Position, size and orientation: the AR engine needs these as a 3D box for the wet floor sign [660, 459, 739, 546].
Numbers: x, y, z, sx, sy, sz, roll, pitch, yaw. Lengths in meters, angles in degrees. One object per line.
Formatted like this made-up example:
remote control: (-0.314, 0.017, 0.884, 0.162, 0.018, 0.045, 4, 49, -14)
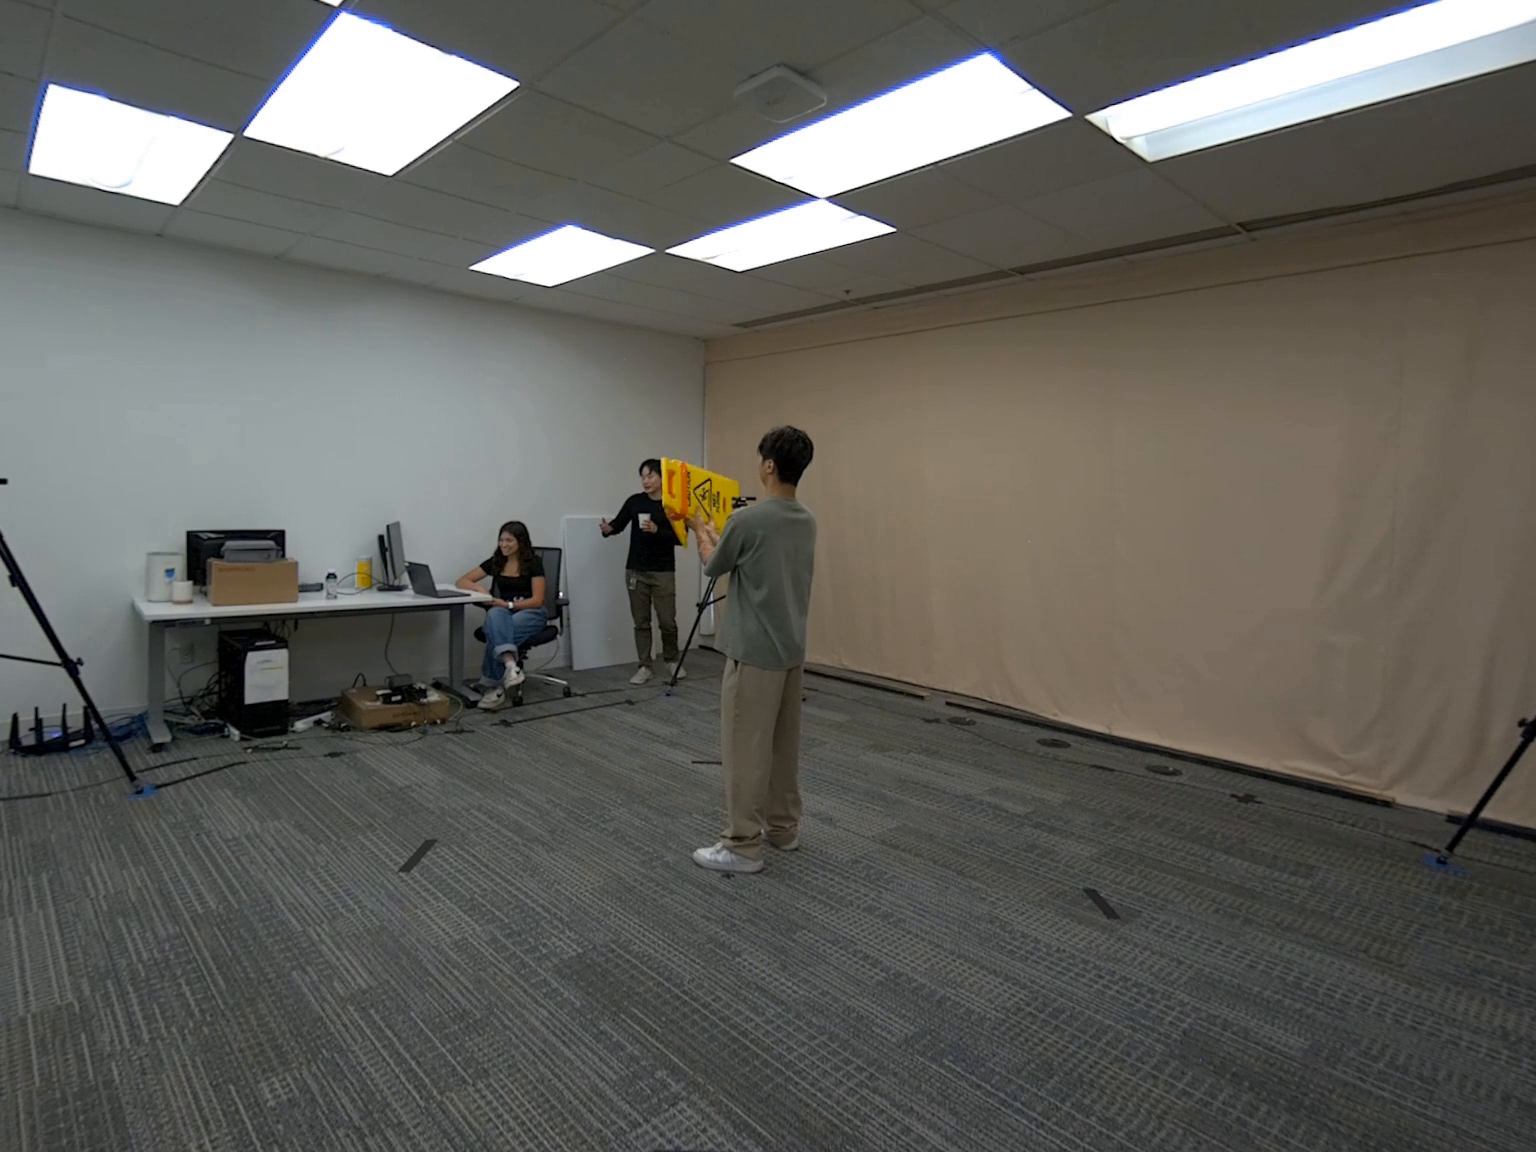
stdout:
wet floor sign: (-0.348, -0.329, 3.619, 0.293, 0.284, 0.634, -3, -9, 13)
